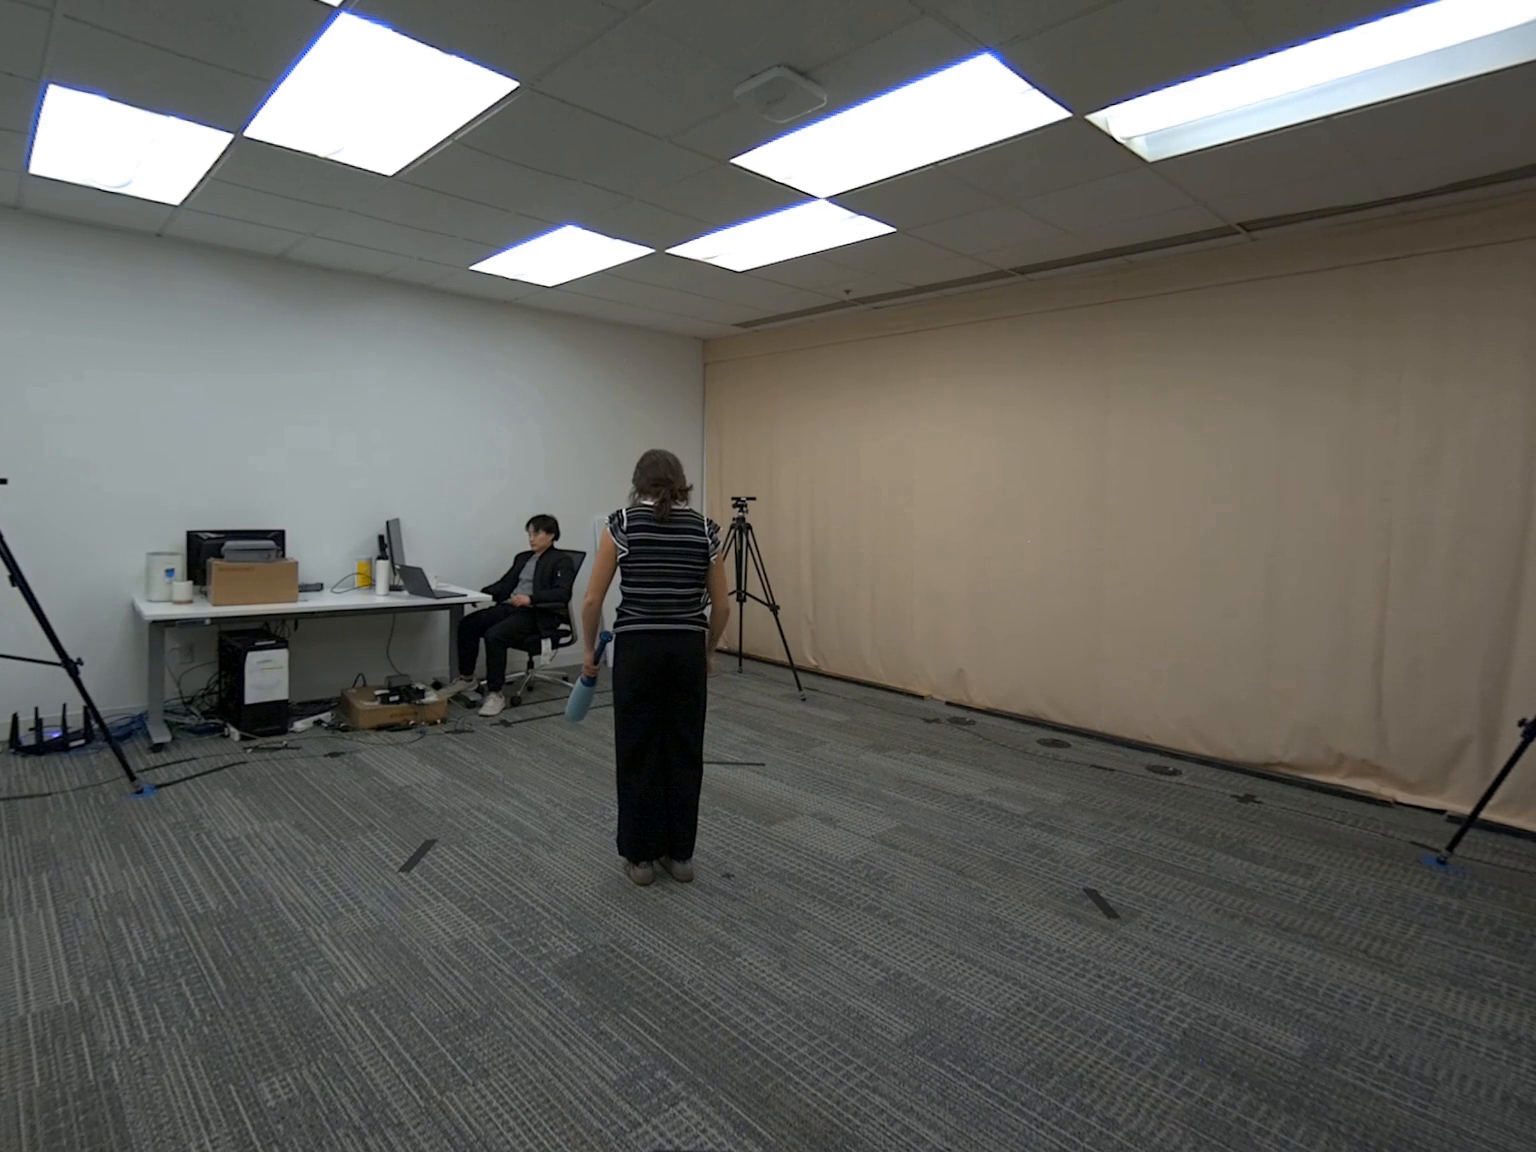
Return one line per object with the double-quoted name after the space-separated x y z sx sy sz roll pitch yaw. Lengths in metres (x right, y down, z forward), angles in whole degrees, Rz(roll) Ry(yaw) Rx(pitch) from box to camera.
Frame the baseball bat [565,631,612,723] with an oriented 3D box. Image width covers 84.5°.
-0.674 0.388 3.198 0.087 0.091 0.539 0 -38 -29 "baseball bat"
